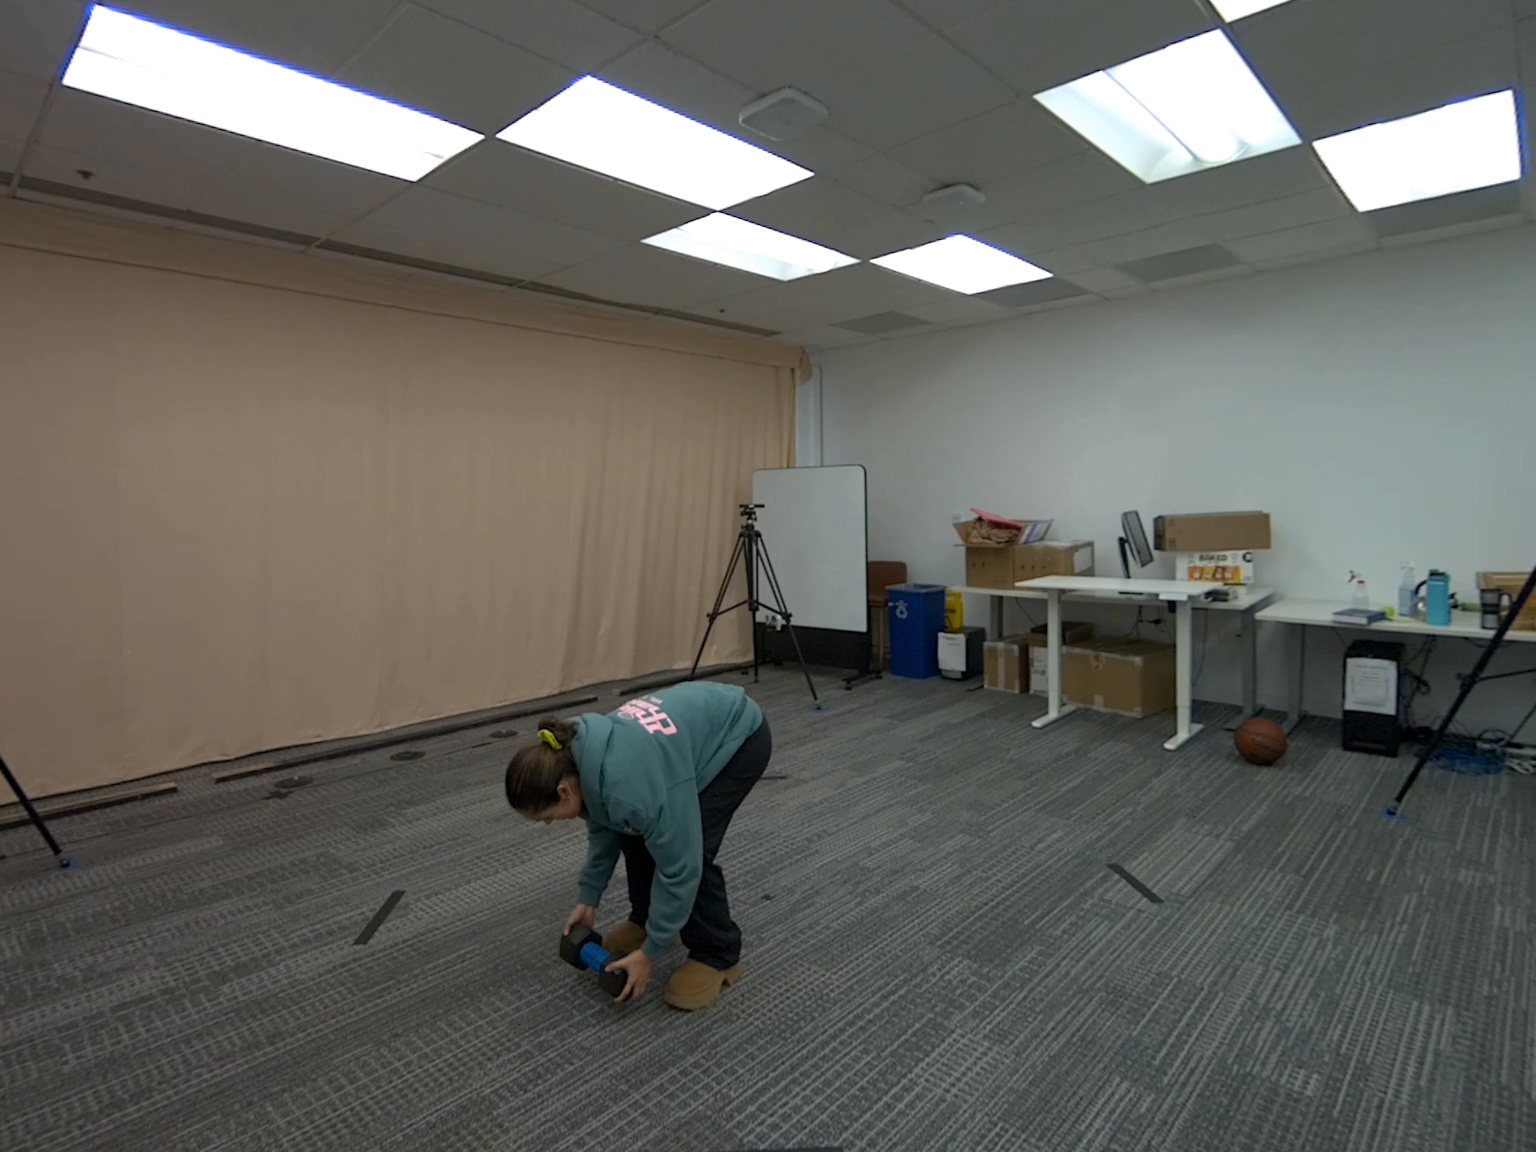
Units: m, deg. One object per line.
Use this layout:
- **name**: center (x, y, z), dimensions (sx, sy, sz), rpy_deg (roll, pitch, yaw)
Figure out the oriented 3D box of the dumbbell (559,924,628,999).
- **dumbbell**: center (-0.471, 1.091, 2.394), dimensions (0.105, 0.123, 0.303), rpy_deg (9, -4, -42)
